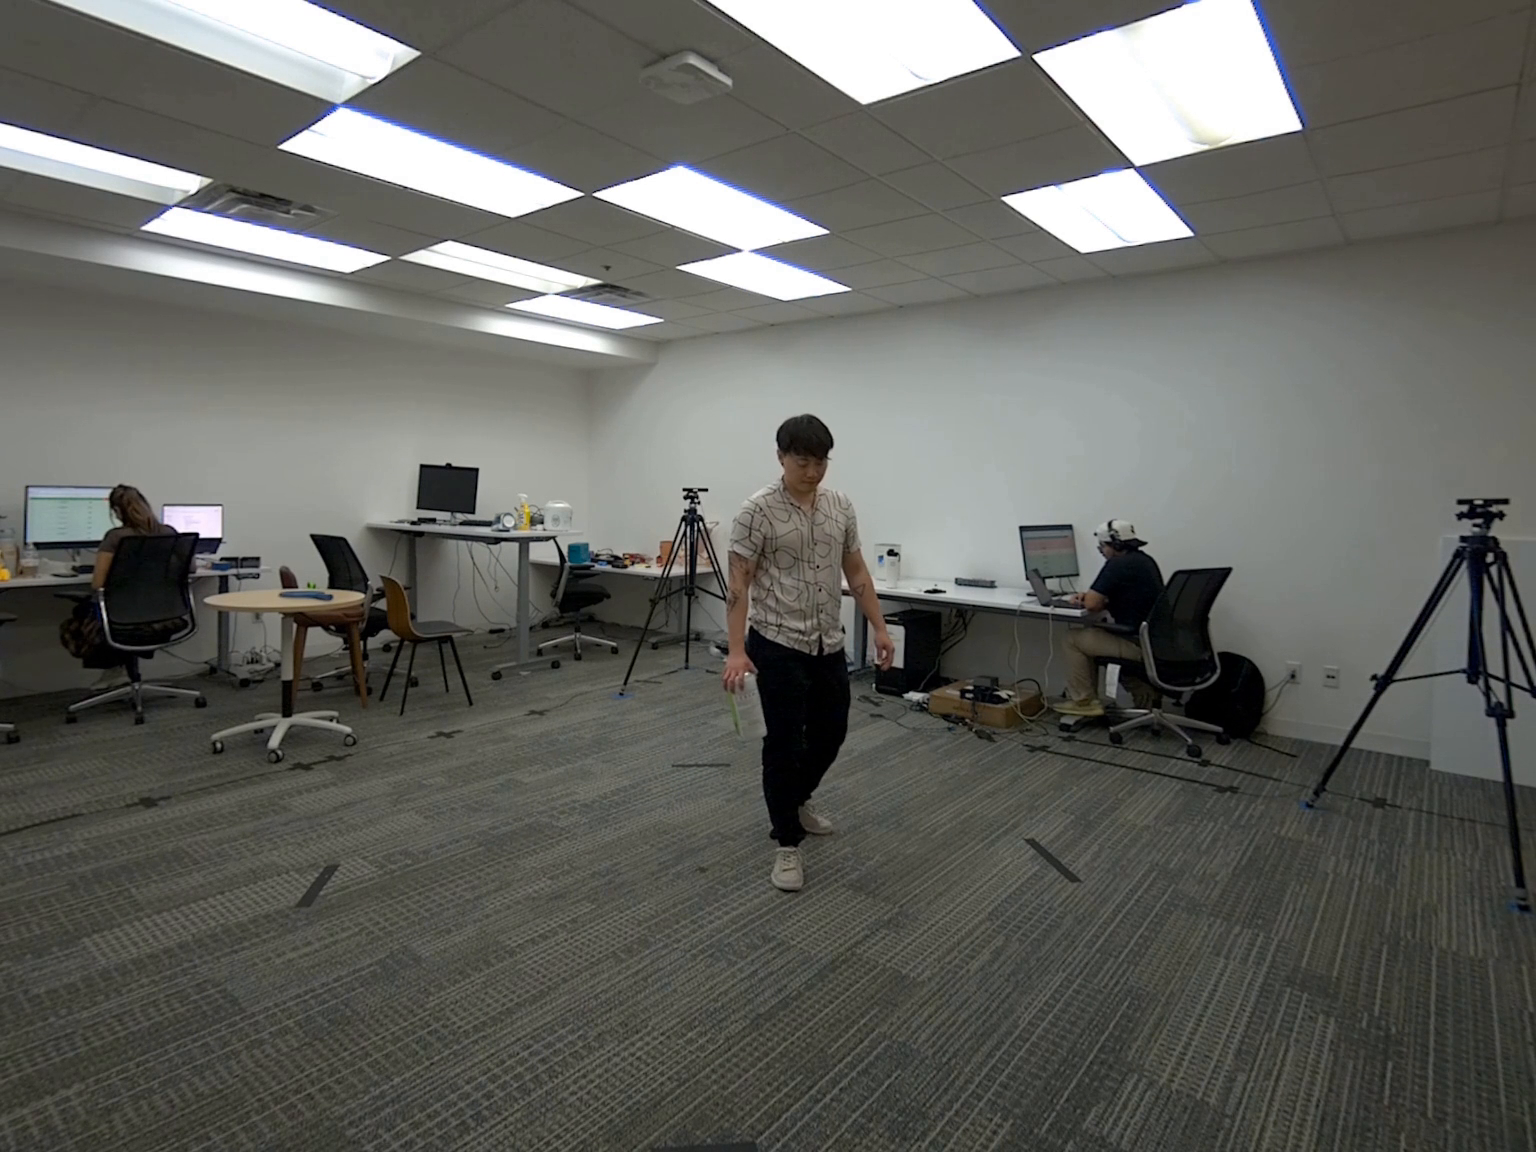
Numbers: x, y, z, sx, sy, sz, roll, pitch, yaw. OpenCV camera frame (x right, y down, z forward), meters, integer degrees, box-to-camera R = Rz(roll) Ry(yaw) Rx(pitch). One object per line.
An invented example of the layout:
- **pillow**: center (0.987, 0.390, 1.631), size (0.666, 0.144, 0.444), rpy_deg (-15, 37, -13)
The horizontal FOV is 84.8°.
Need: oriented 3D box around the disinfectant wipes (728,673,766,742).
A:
- **disinfectant wipes**: center (-0.086, 0.456, 2.985), size (0.118, 0.217, 0.118), rpy_deg (-12, 1, -1)
